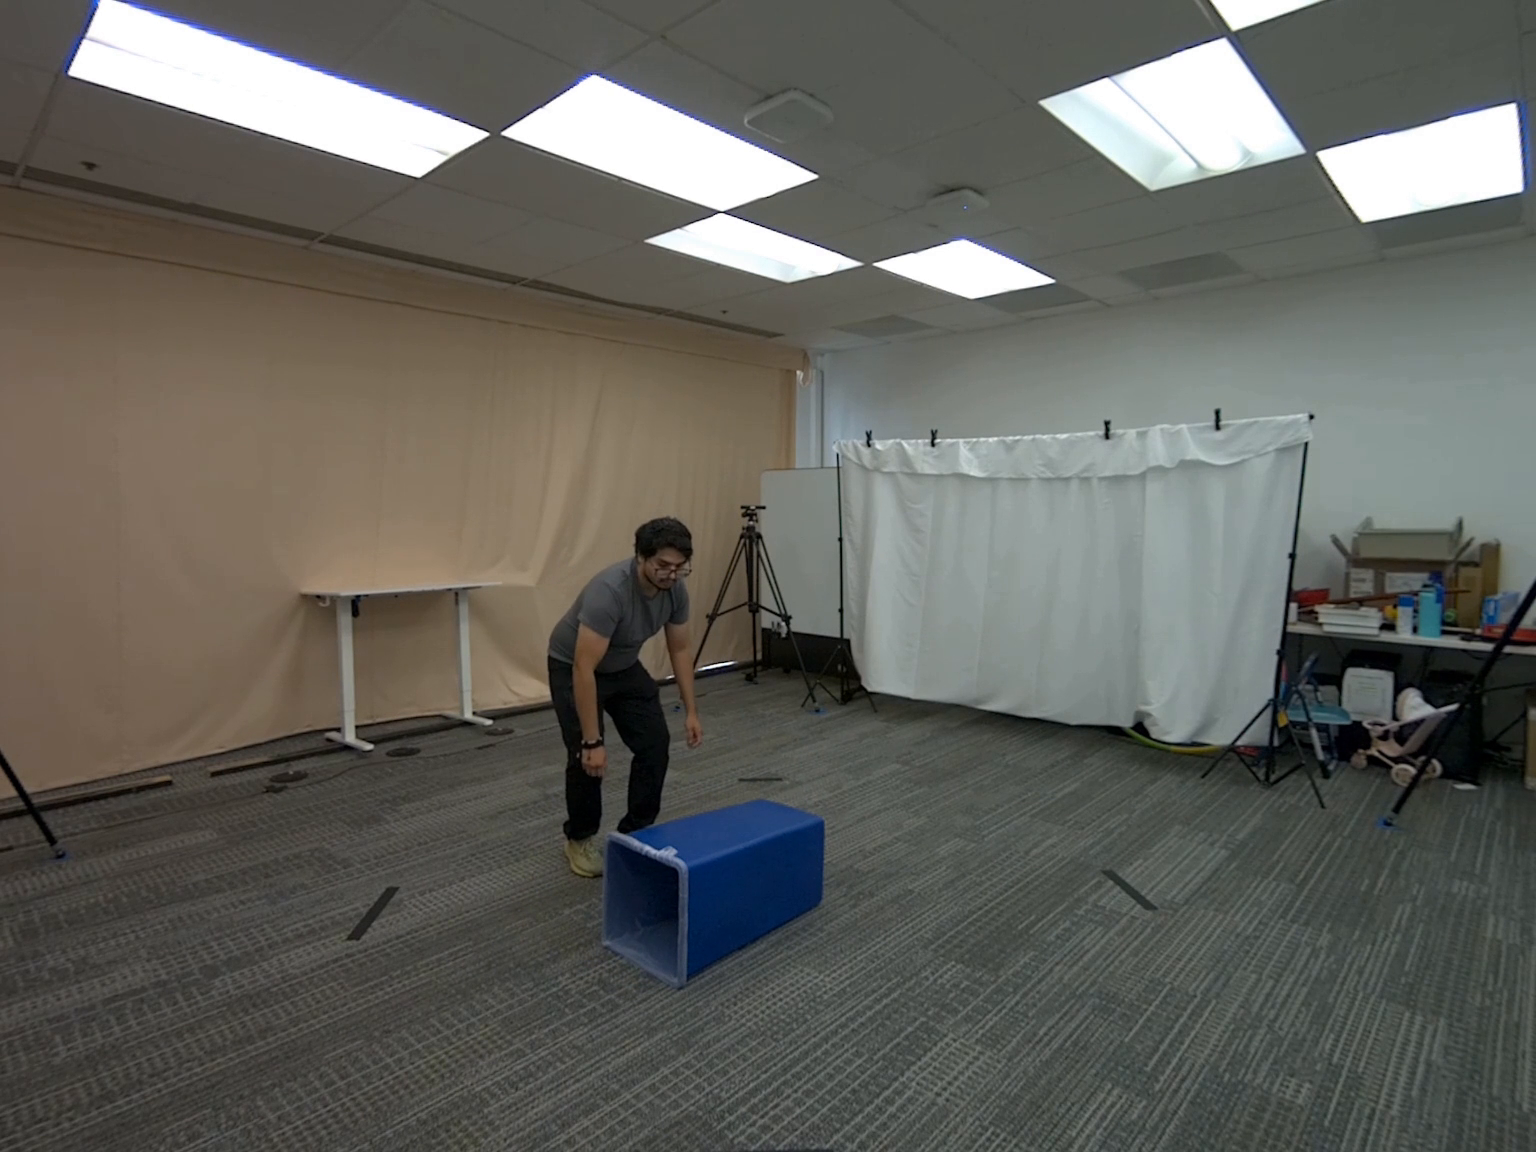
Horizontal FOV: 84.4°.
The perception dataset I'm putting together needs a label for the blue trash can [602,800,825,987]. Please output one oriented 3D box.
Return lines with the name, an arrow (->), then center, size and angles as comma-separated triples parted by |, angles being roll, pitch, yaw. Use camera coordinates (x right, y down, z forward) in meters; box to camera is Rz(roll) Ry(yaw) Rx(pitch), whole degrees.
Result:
blue trash can -> -0.142, 0.989, 2.782 | 0.386, 0.378, 0.691 | 2, 3, 44
